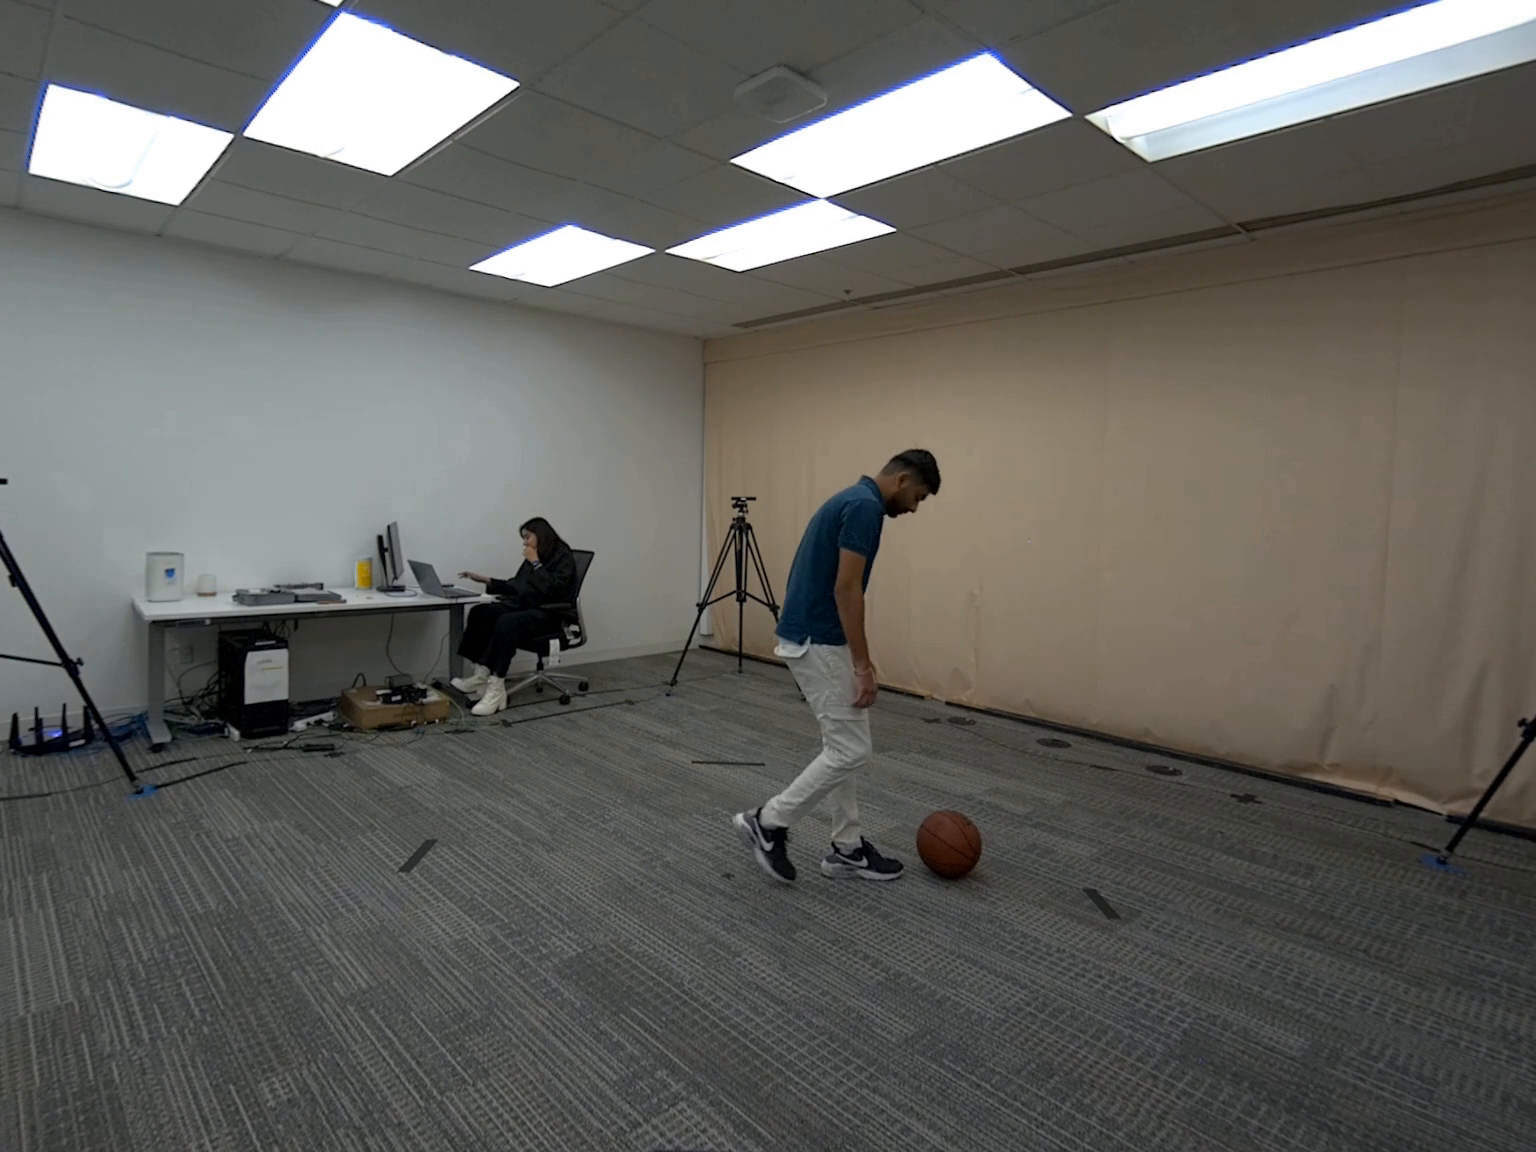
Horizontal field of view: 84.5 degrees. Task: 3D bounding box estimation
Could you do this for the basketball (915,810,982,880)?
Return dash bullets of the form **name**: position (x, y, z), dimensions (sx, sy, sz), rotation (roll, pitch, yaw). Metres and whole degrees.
- **basketball**: position (0.672, 1.001, 3.163), dimensions (0.236, 0.235, 0.237), rotation (1, 4, -1)
